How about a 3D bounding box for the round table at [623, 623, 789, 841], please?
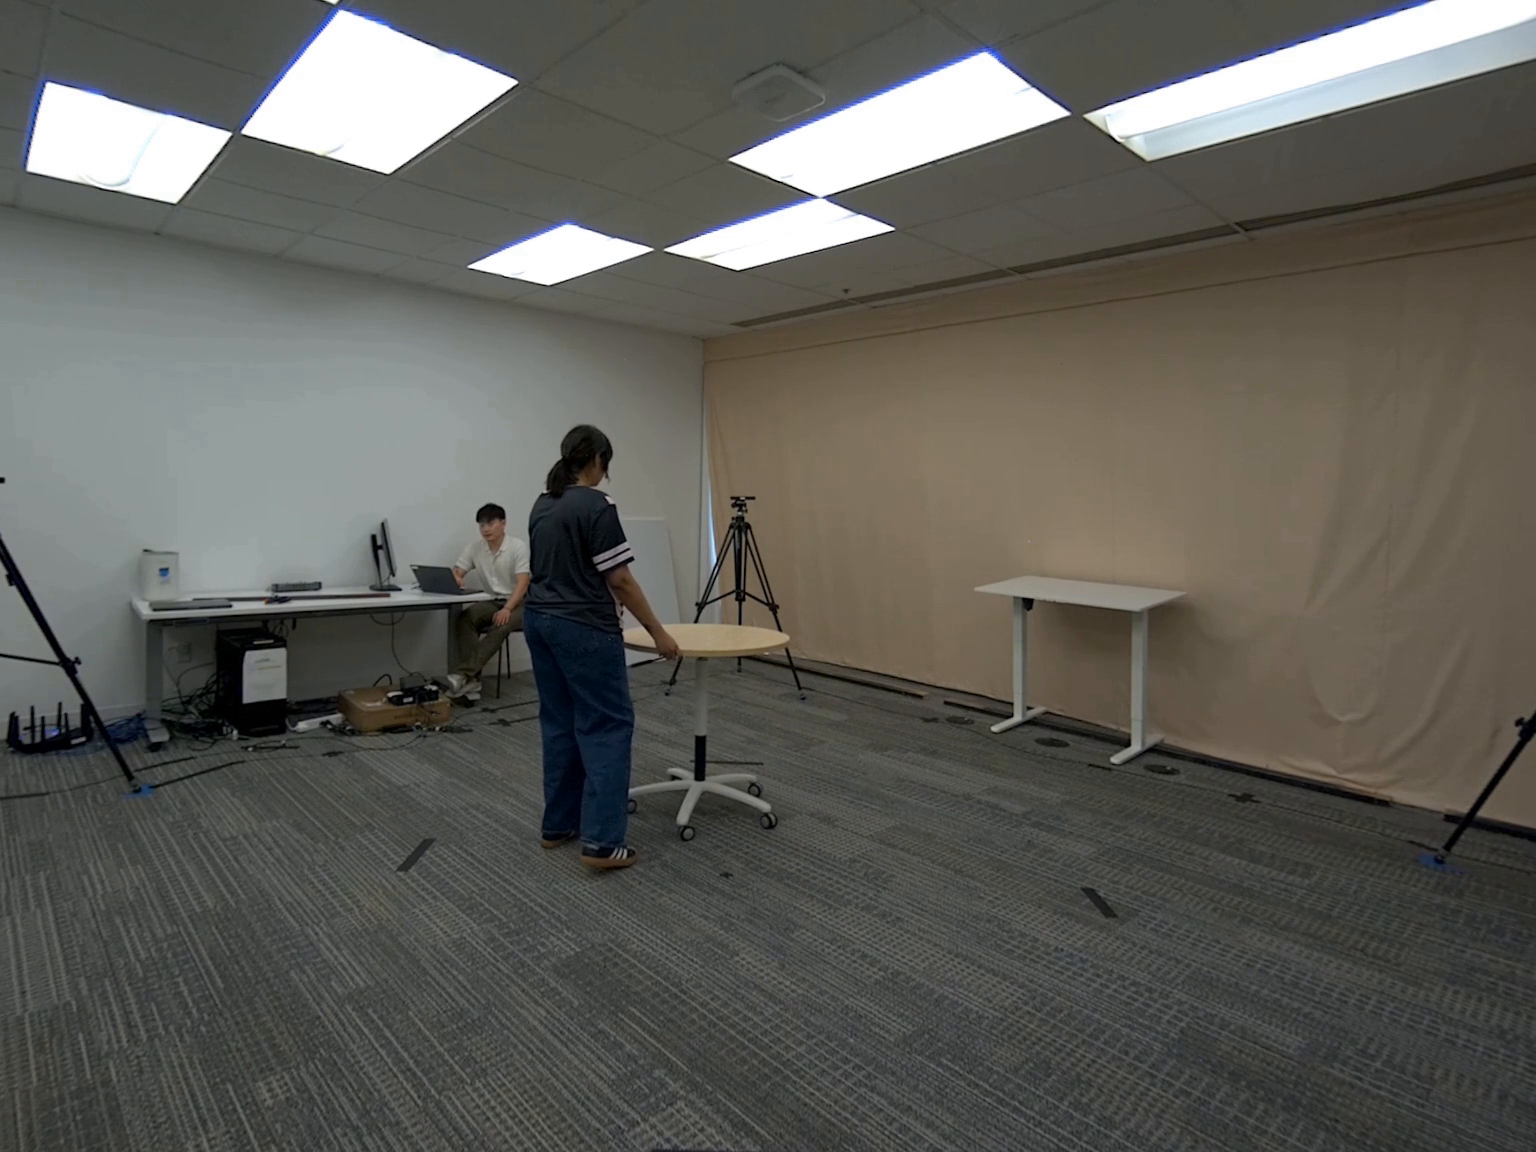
[{"bbox_3d":[-0.297,0.656,3.719,0.763,0.792,0.766,1,3,-1],"label":"round table"}]
